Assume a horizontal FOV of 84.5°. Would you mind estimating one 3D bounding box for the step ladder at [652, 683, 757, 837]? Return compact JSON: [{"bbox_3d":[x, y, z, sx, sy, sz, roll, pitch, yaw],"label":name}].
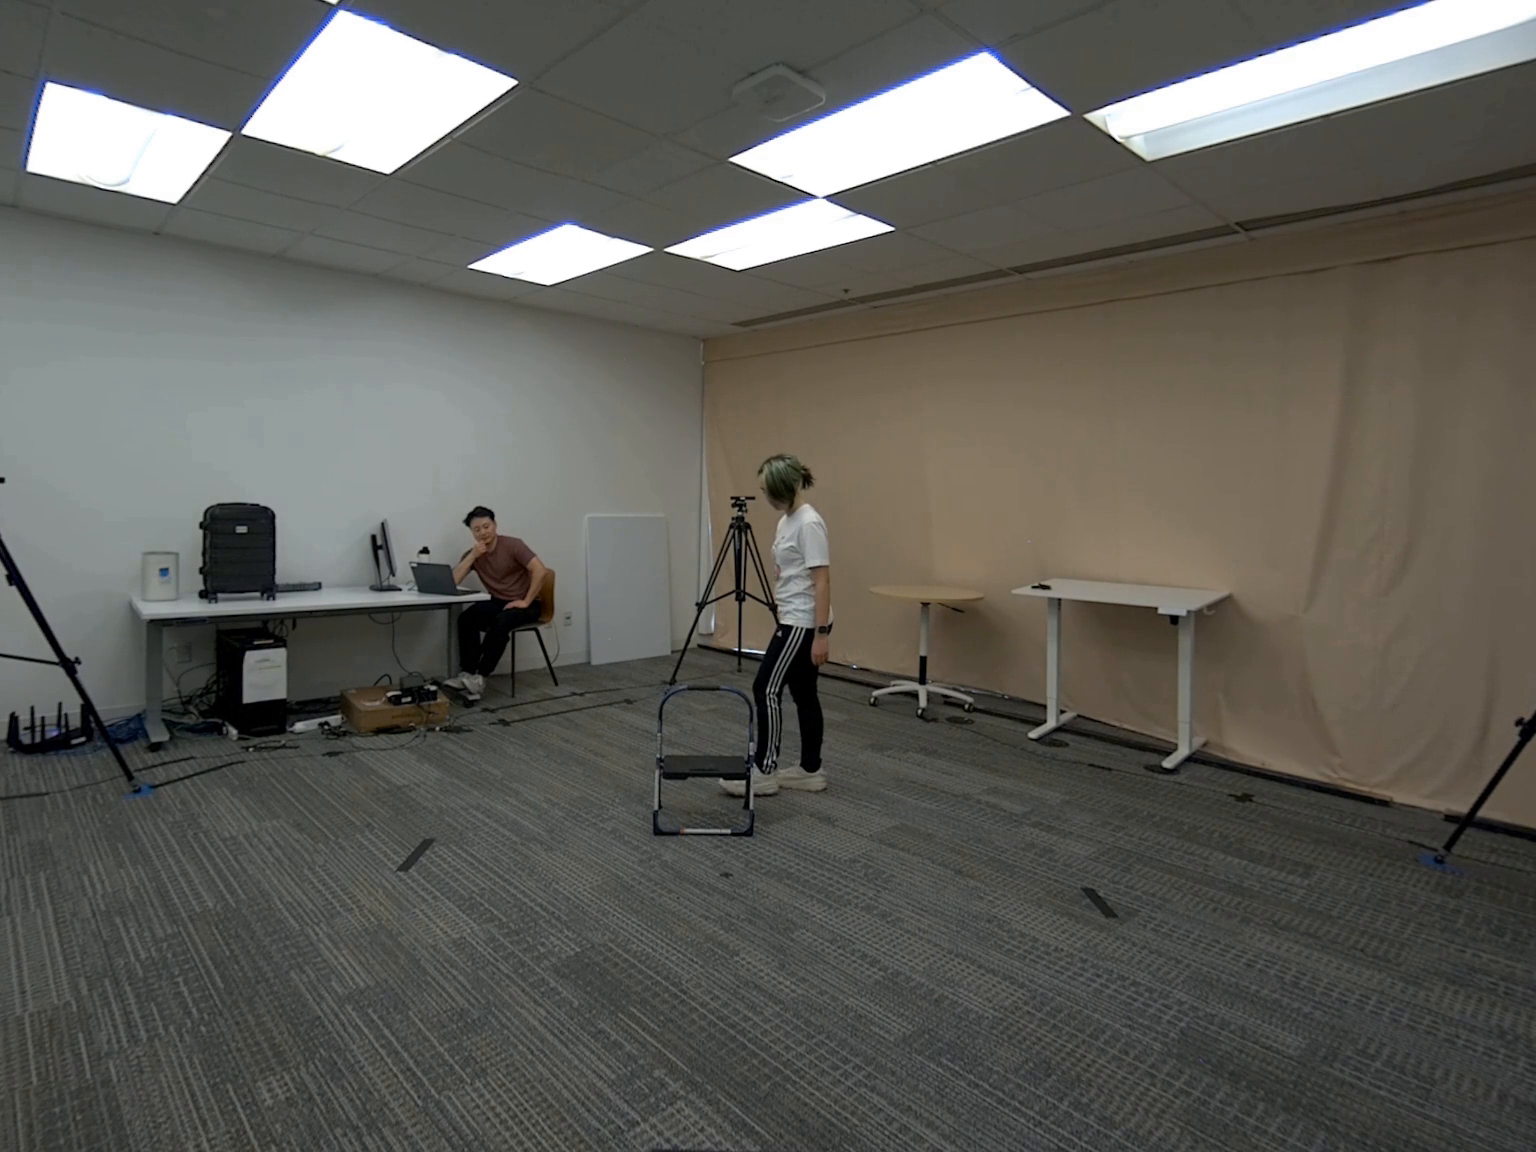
[{"bbox_3d":[-0.280,0.755,3.614,0.429,0.605,0.351,1,3,-4],"label":"step ladder"}]
